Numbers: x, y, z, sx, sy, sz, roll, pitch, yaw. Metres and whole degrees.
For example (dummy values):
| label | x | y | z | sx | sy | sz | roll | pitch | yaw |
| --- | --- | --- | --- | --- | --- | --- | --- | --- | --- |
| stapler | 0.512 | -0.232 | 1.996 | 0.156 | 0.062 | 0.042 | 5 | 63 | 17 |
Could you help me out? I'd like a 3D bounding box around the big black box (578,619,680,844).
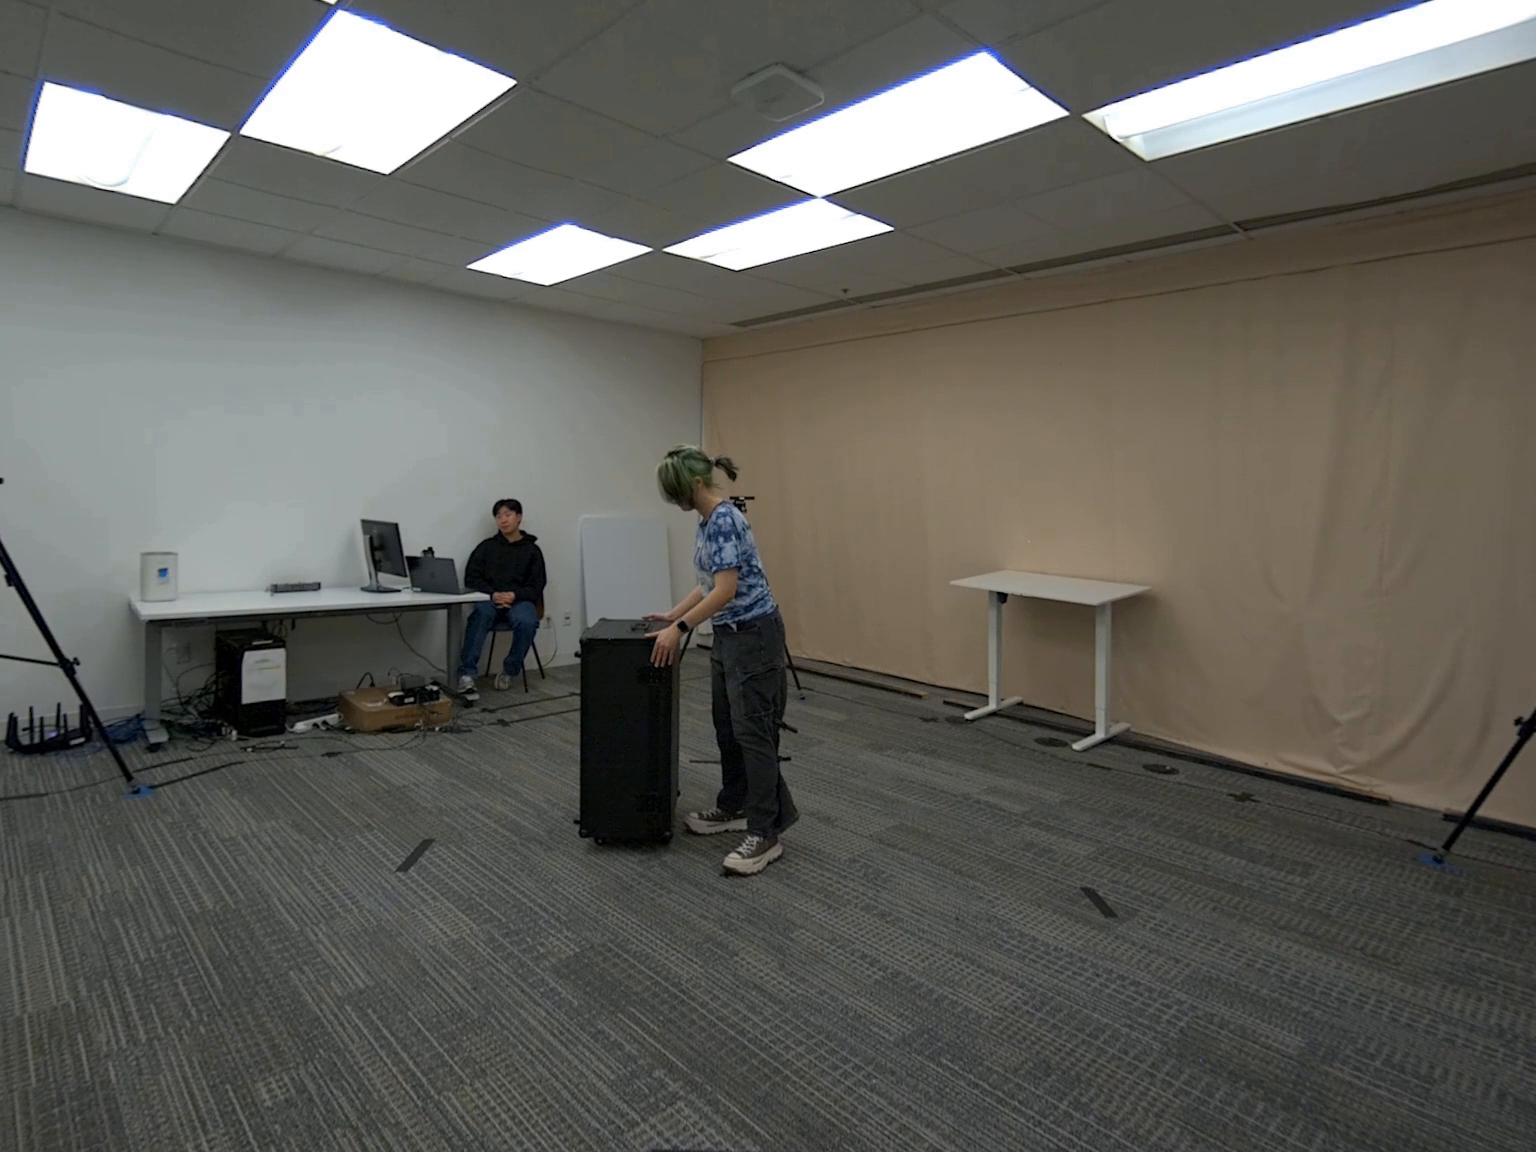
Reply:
| label | x | y | z | sx | sy | sz | roll | pitch | yaw |
| --- | --- | --- | --- | --- | --- | --- | --- | --- | --- |
| big black box | -0.571 | 0.636 | 3.453 | 0.396 | 0.859 | 0.523 | 0 | 4 | -2 |
